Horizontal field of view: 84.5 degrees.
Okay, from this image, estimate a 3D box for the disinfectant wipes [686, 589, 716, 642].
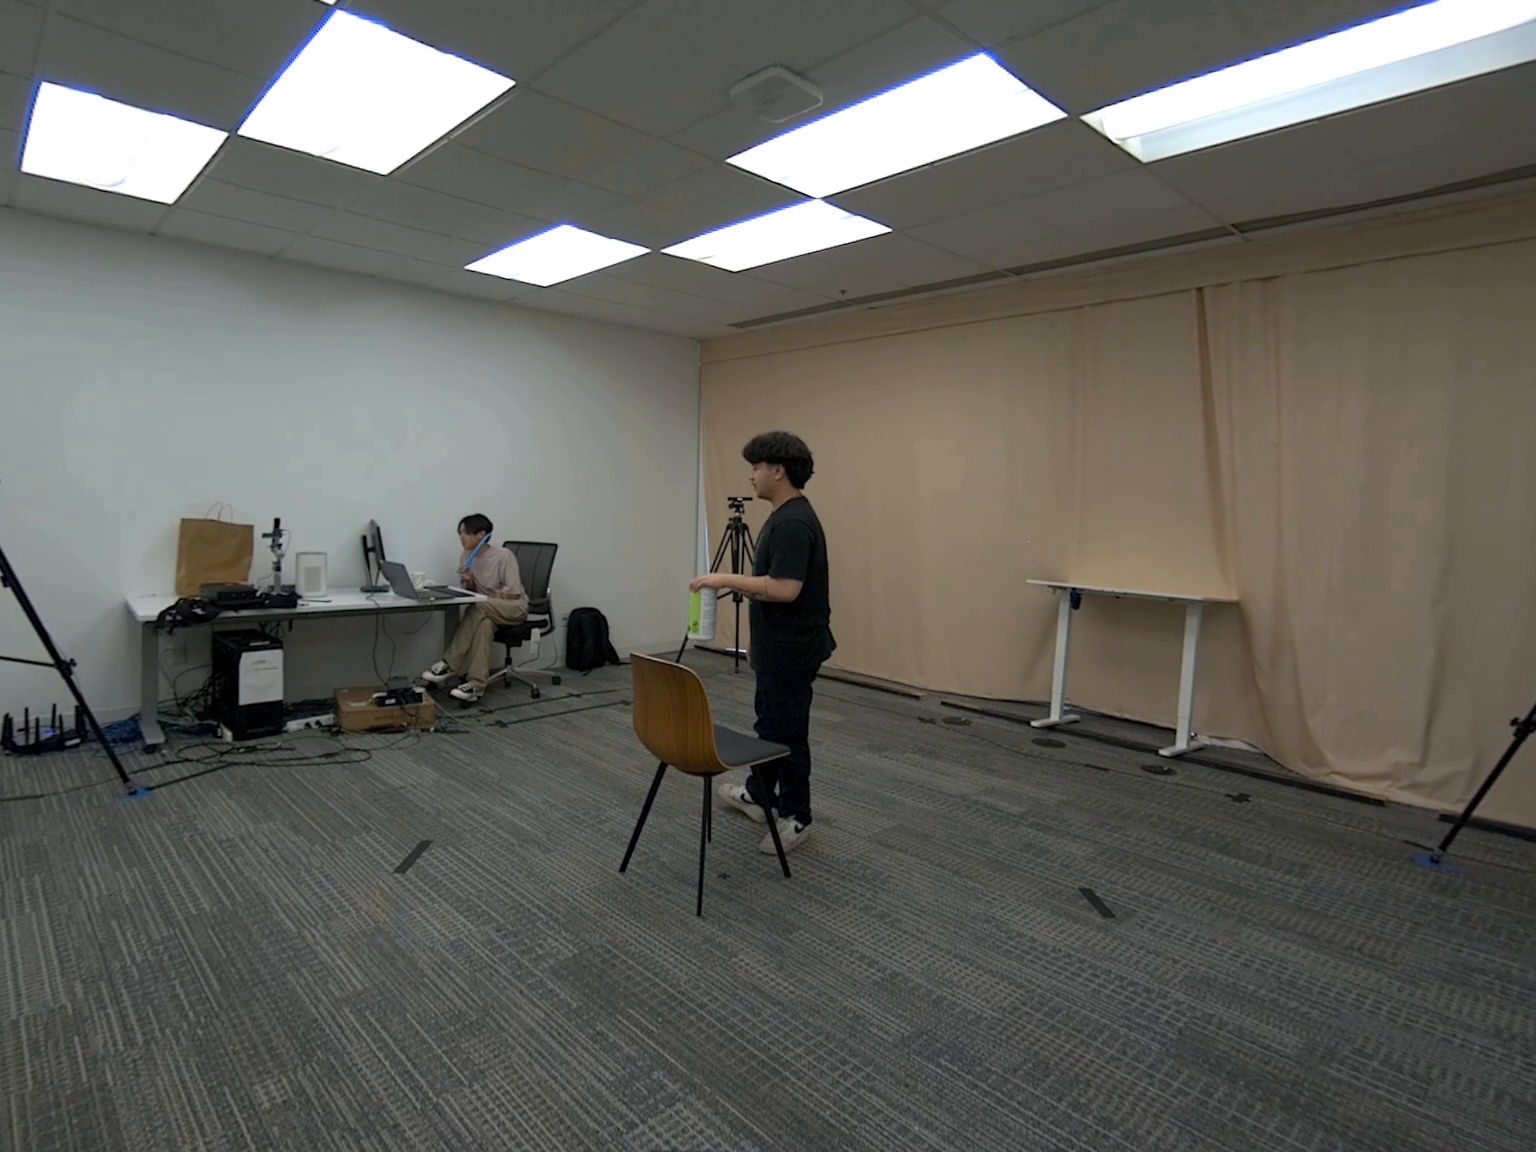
[{"bbox_3d":[-0.254,0.140,3.281,0.118,0.217,0.118,2,1,-1],"label":"disinfectant wipes"}]
